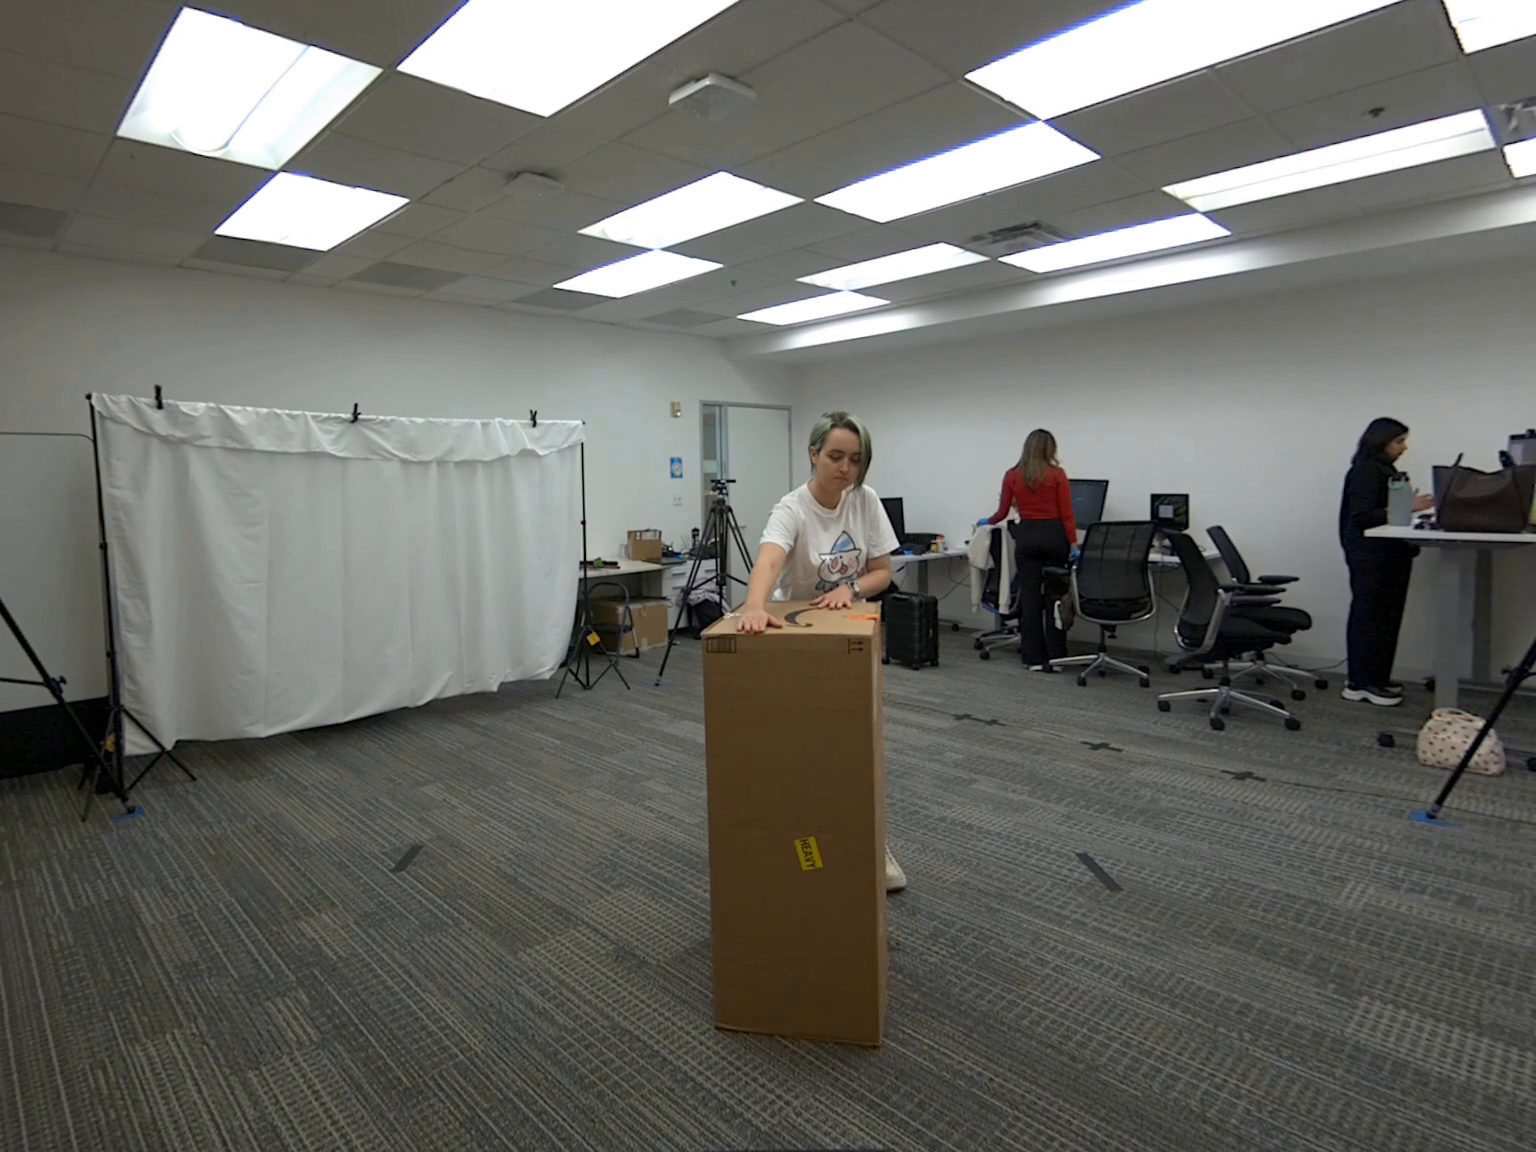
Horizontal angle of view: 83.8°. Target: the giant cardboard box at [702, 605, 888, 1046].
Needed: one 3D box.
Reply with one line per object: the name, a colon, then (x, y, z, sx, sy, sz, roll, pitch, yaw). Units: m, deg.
giant cardboard box: (0.101, 0.620, 2.383, 0.452, 1.024, 0.579, -2, 3, 10)
